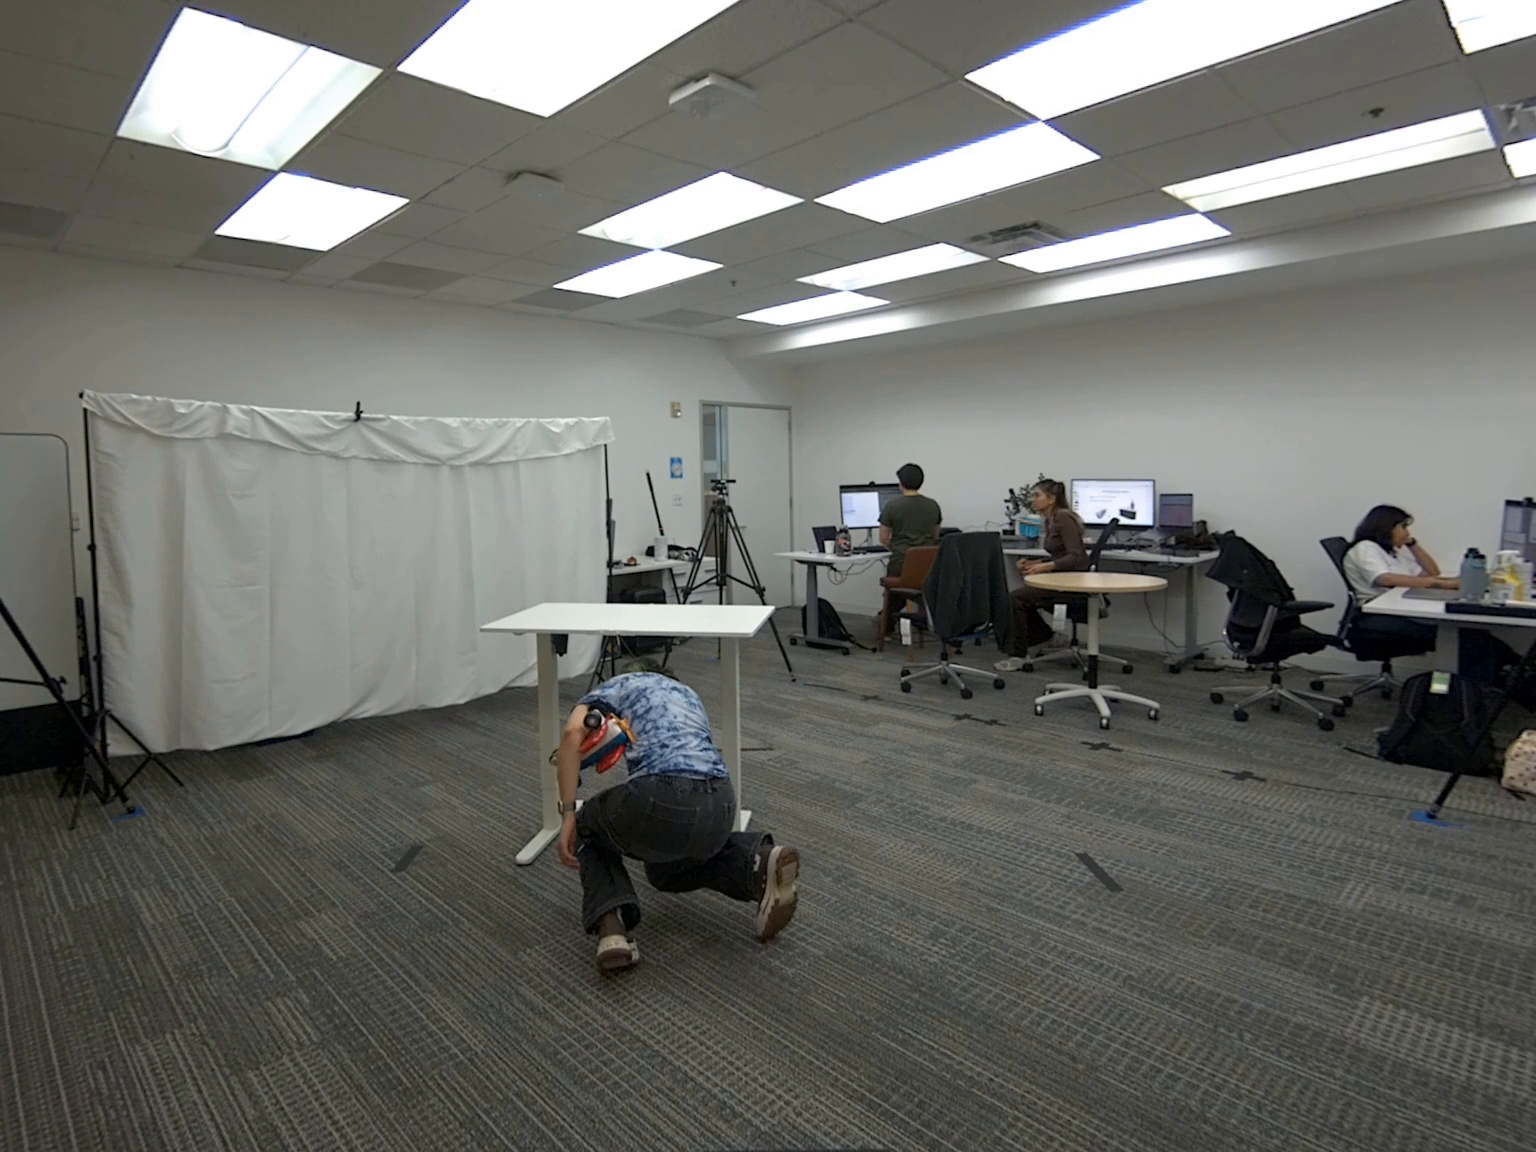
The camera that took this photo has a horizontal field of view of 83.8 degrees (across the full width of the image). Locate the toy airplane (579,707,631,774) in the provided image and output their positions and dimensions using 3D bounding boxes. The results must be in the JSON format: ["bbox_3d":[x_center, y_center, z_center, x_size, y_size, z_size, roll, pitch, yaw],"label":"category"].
[{"bbox_3d":[-0.530,0.518,2.587,0.259,0.155,0.253,-46,8,34],"label":"toy airplane"}]
